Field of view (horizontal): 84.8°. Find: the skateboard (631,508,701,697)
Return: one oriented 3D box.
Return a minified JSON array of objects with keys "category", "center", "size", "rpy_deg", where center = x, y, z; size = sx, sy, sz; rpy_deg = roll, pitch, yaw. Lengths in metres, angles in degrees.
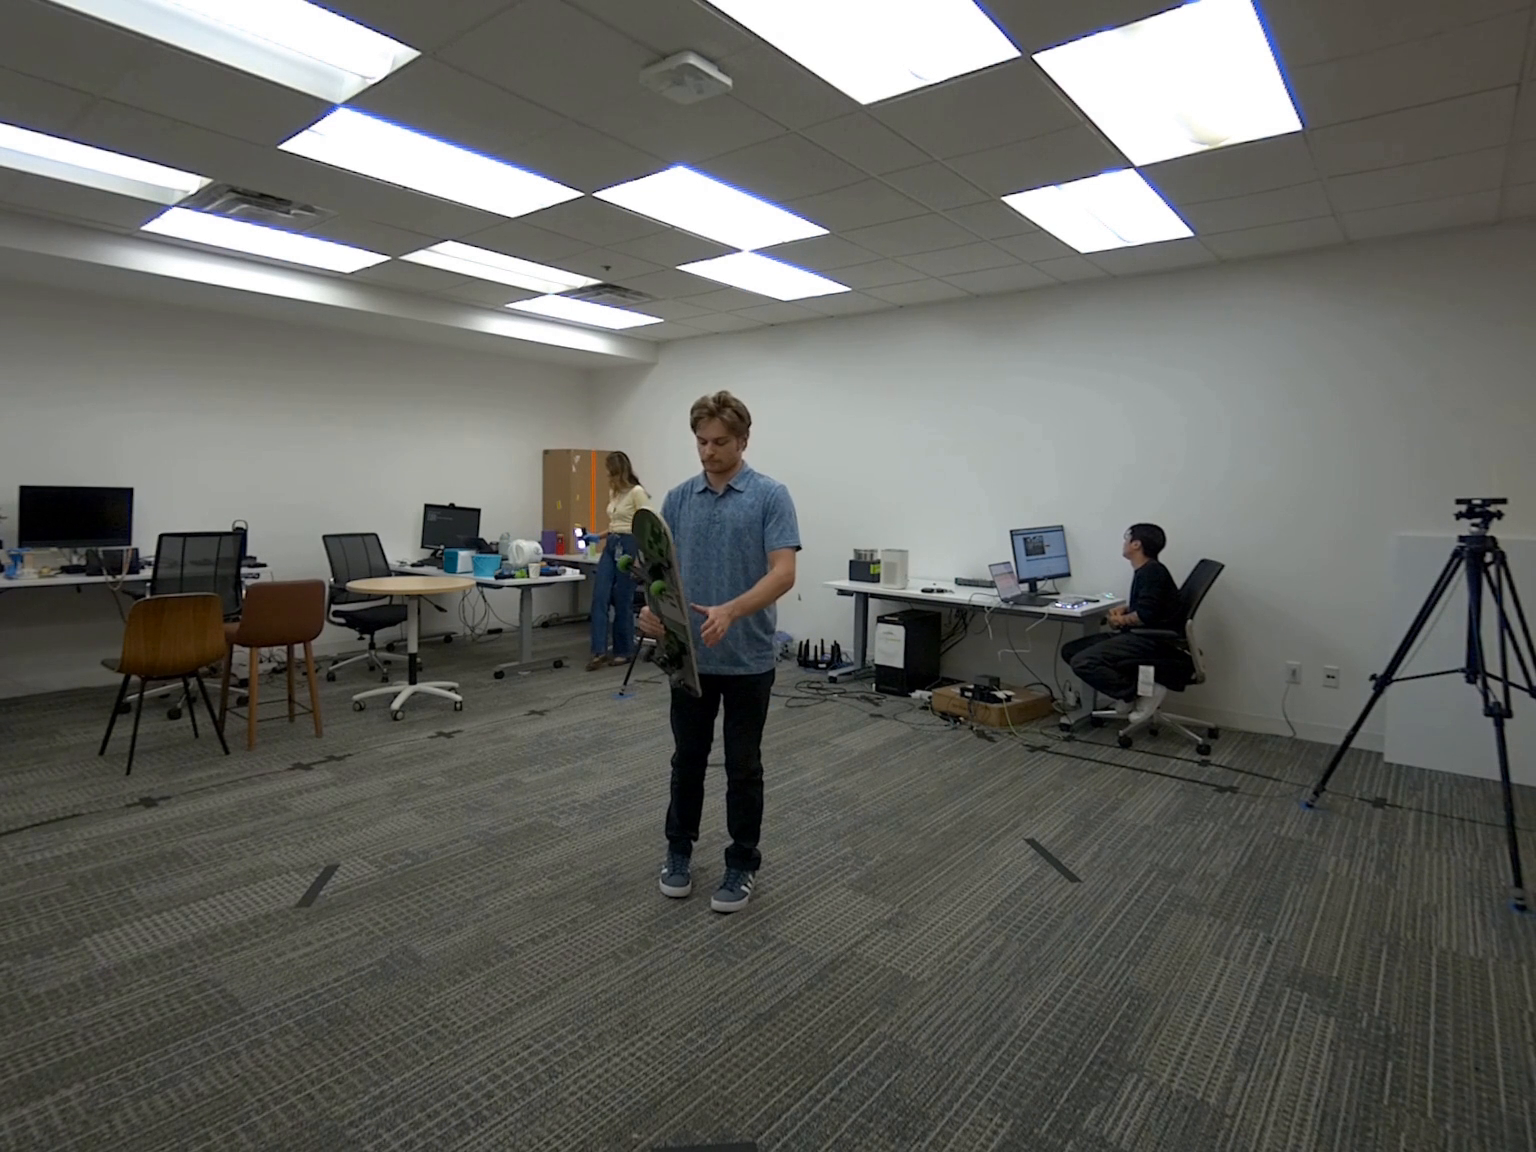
[{"category":"skateboard","center":[-0.339,0.123,2.569],"size":[0.109,0.761,0.201],"rpy_deg":[-33,50,-28]}]
